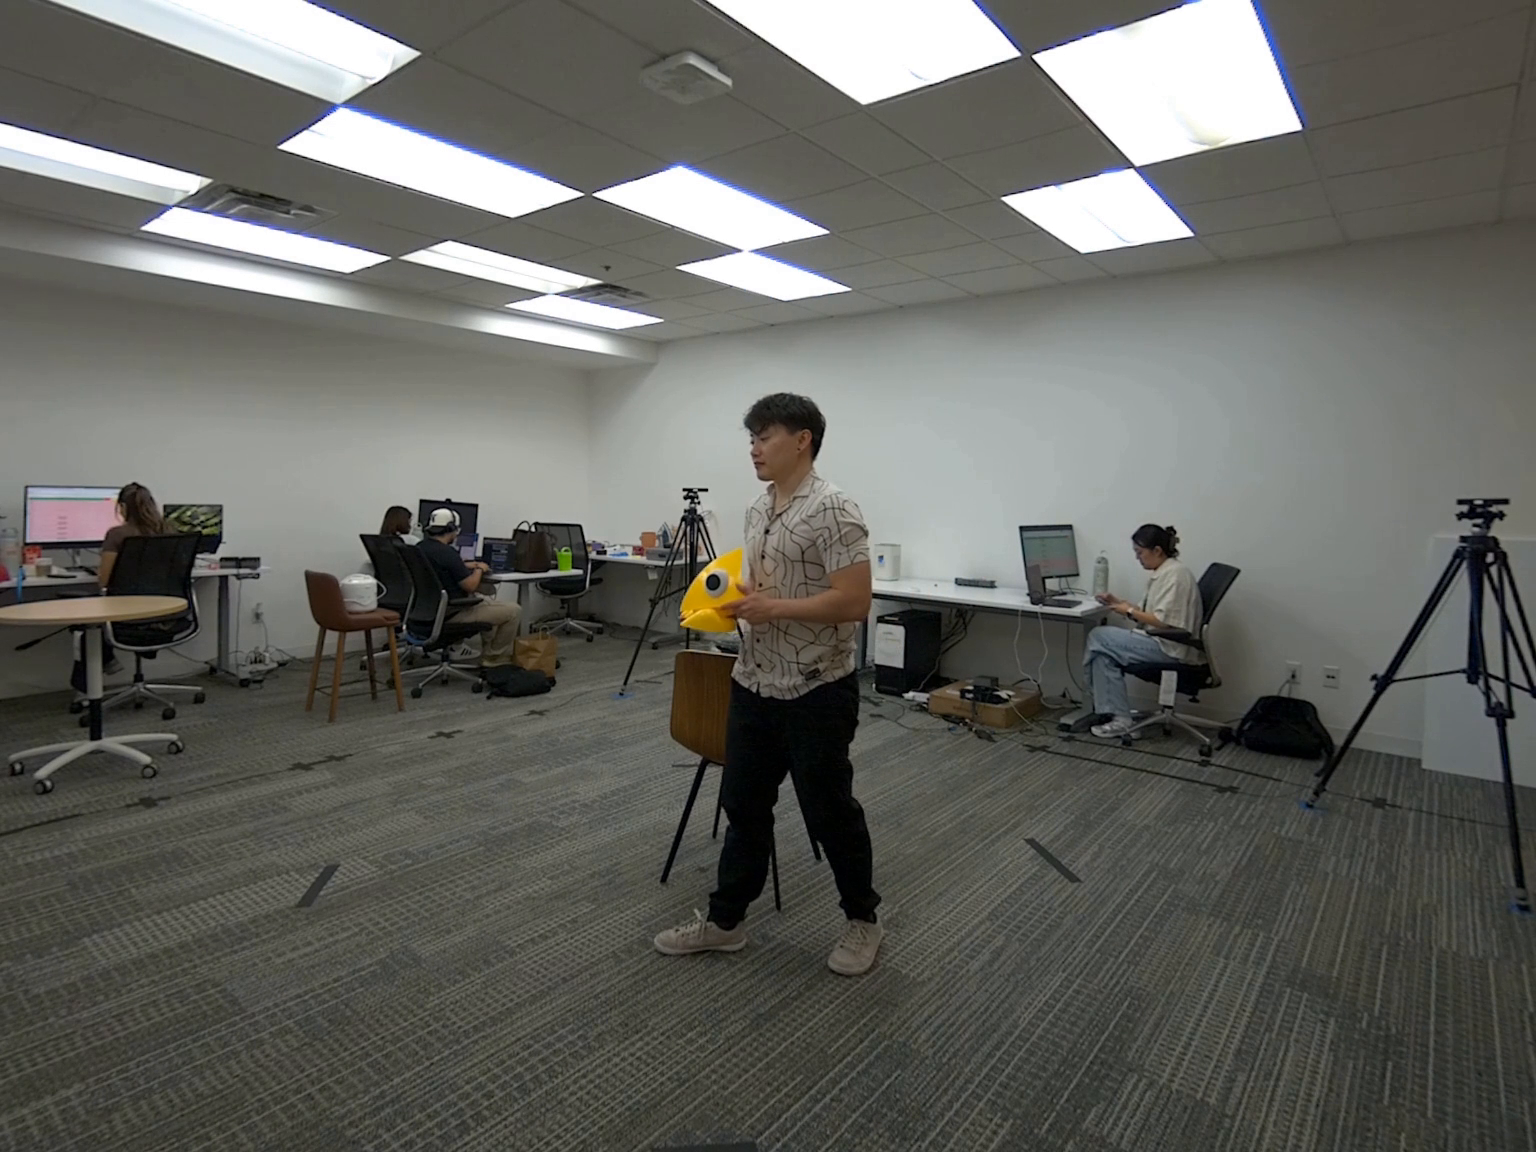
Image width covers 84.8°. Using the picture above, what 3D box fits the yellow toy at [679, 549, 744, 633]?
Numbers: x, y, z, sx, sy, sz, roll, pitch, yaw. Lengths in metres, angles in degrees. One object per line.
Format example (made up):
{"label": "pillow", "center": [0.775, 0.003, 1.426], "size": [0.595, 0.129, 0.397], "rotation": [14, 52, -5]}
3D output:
{"label": "yellow toy", "center": [-0.157, 0.021, 2.445], "size": [0.192, 0.229, 0.207], "rotation": [7, 7, -4]}
